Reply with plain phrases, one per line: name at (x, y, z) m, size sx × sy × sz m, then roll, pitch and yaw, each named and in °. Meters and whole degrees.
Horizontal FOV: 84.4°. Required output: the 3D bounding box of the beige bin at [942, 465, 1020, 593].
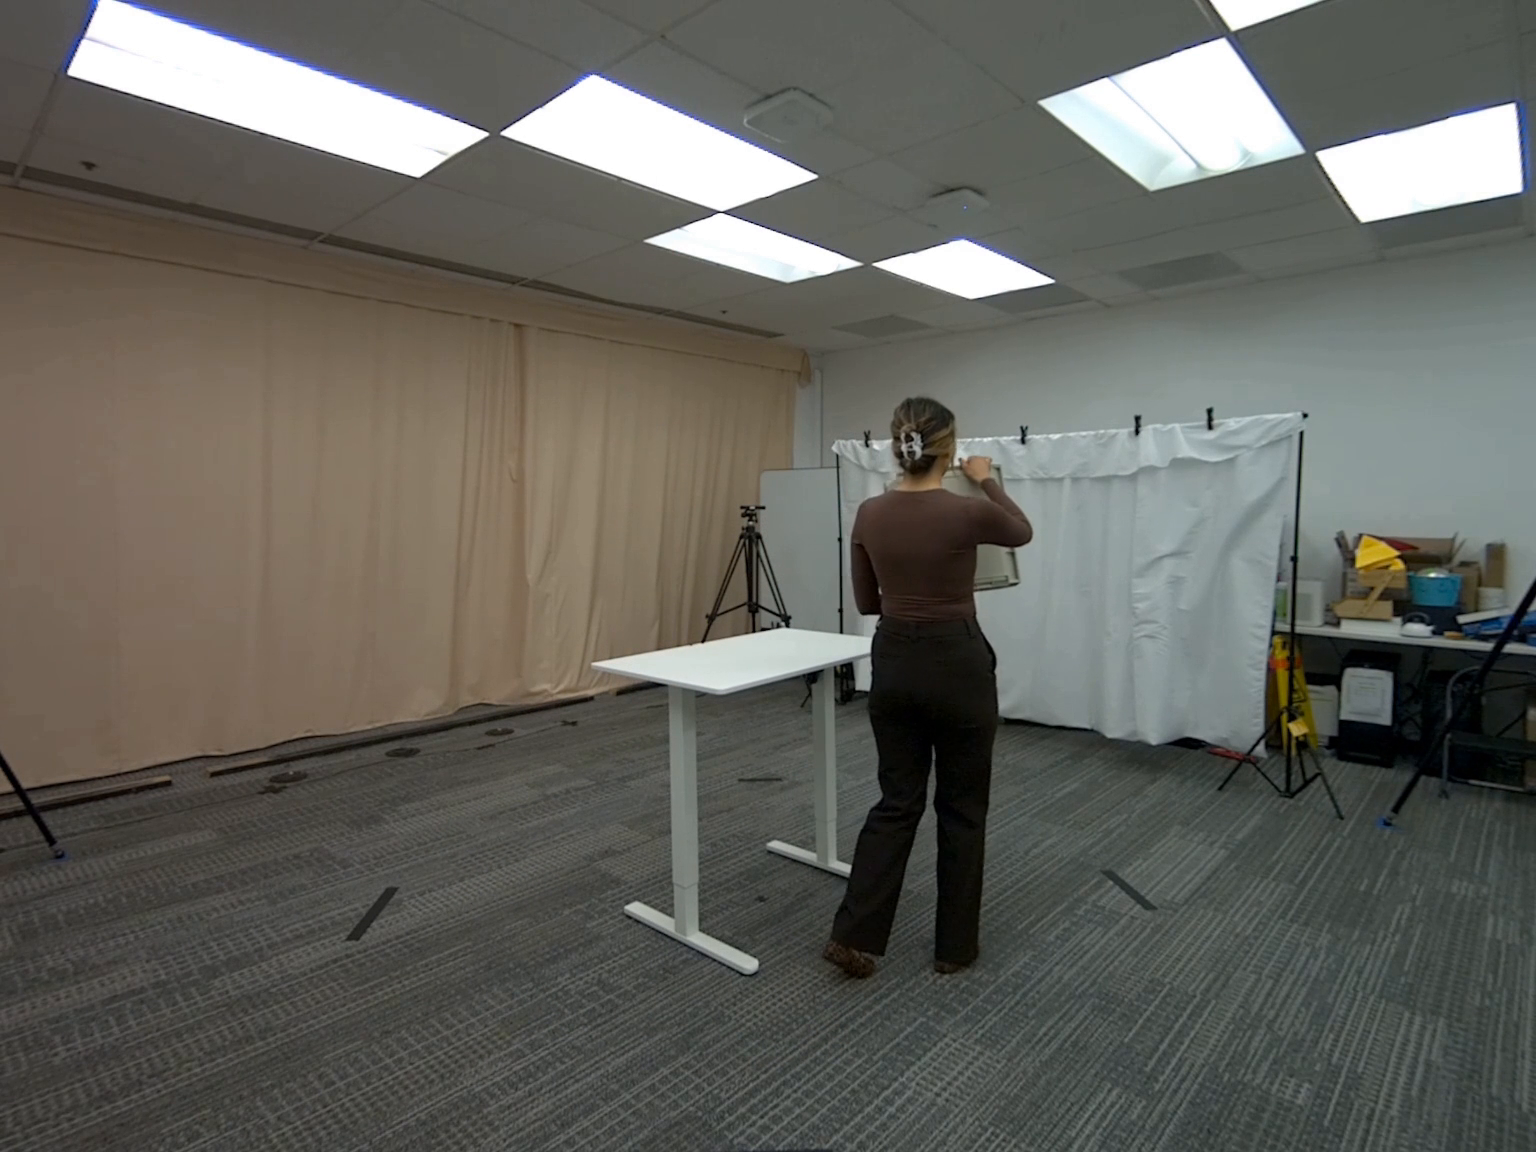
beige bin at (0.633, -0.148, 2.872) m, size 0.376 × 0.424 × 0.188 m, roll -7°, pitch -6°, yaw -3°
